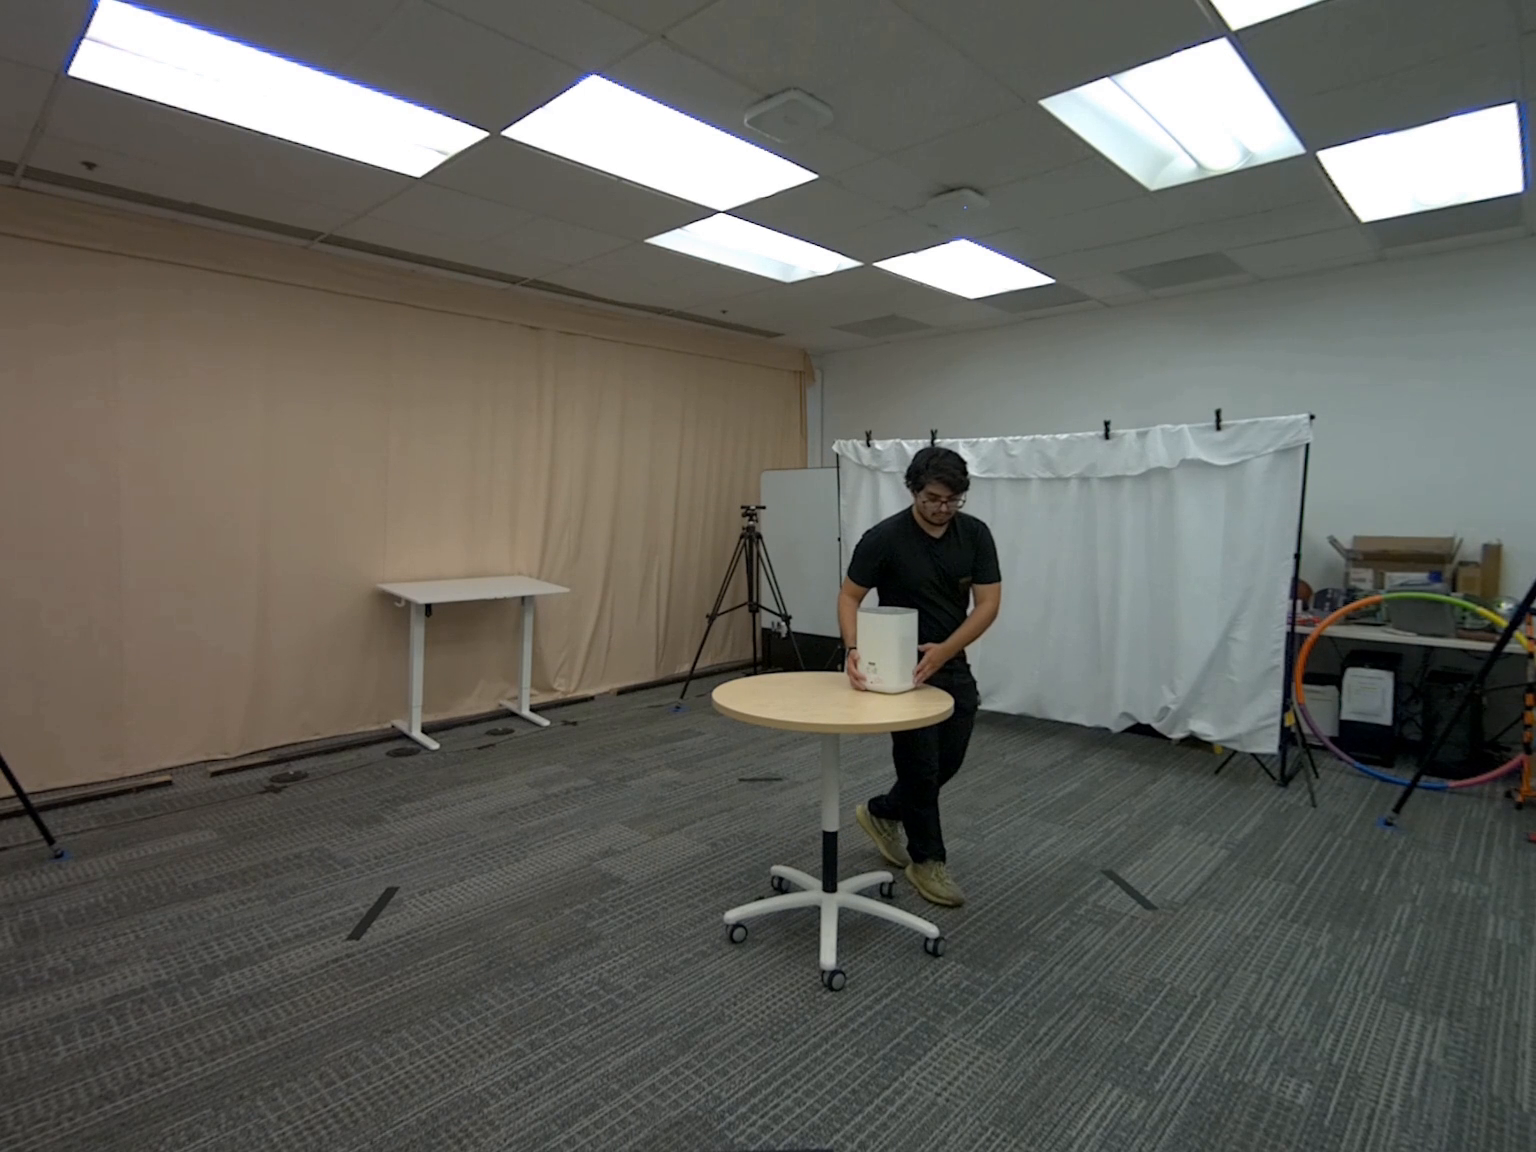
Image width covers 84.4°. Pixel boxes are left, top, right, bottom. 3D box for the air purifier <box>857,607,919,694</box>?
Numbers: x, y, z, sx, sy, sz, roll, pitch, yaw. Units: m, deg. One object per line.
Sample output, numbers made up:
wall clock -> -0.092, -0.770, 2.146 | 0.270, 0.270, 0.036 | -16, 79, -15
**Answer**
air purifier -> 0.402, 0.240, 2.788 | 0.176, 0.265, 0.166 | 0, 1, 43
